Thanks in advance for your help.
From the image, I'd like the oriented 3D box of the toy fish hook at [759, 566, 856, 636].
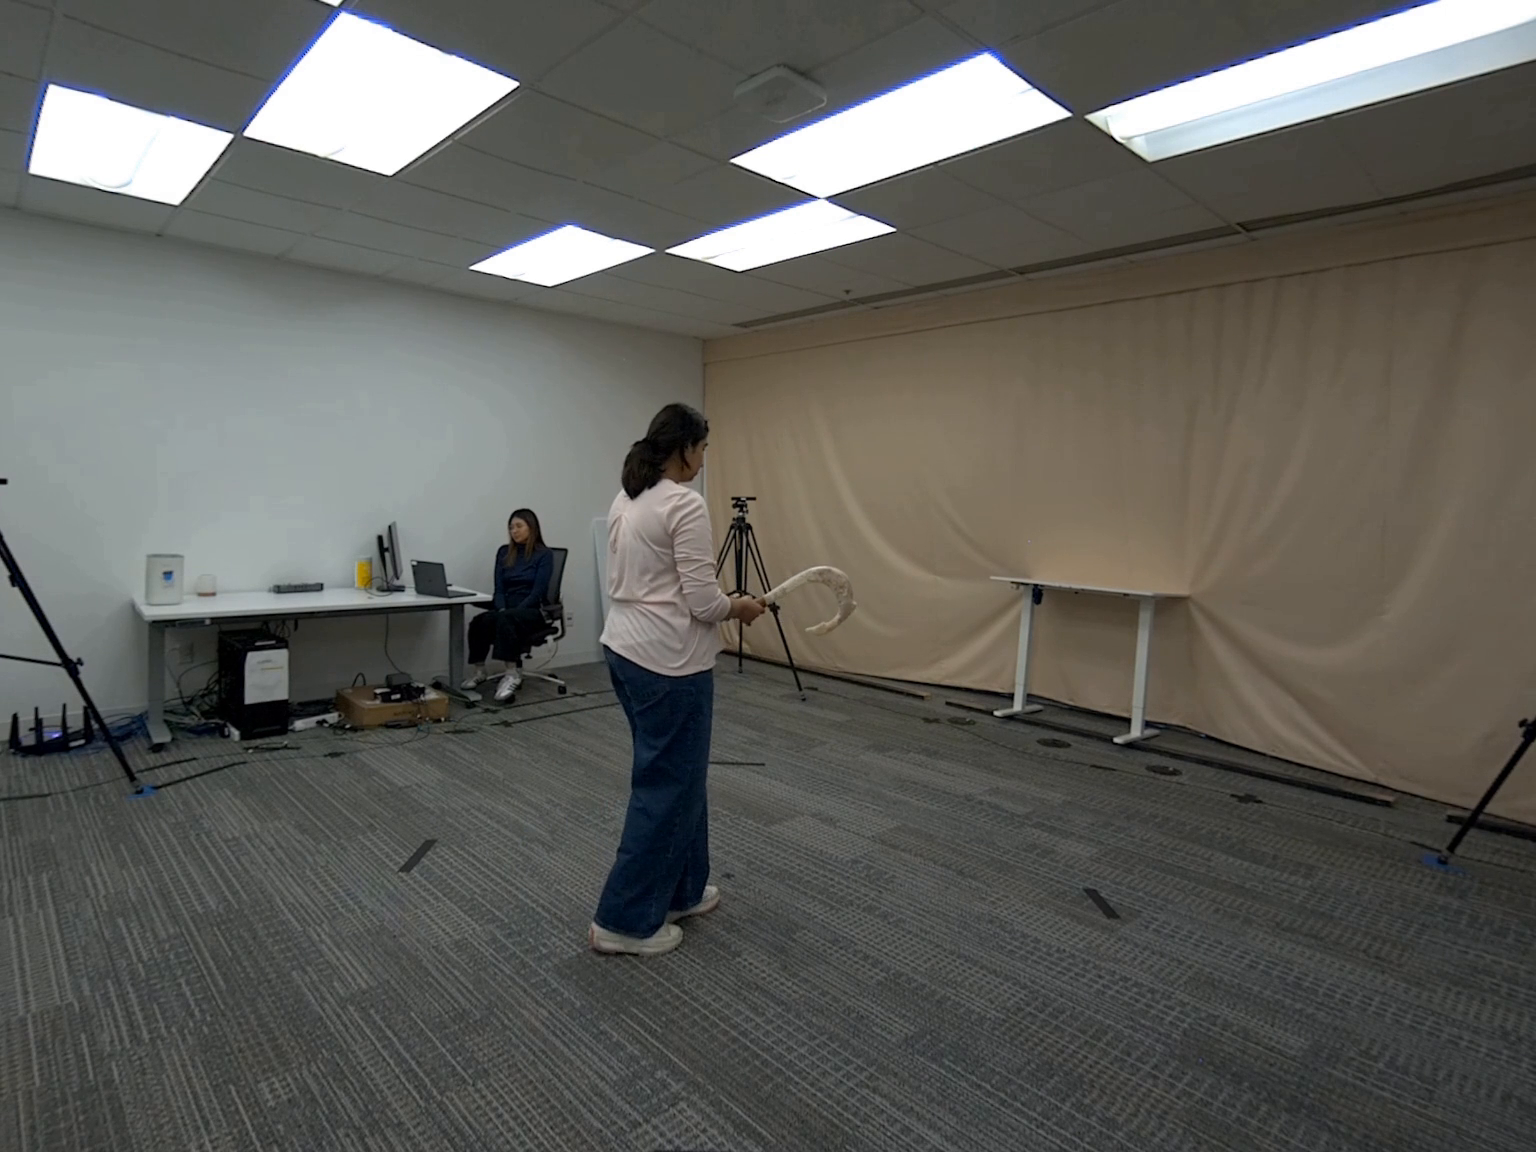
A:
[{"bbox_3d":[0.041,0.117,2.809,0.504,0.226,0.048,-15,-7,-7],"label":"toy fish hook"}]
